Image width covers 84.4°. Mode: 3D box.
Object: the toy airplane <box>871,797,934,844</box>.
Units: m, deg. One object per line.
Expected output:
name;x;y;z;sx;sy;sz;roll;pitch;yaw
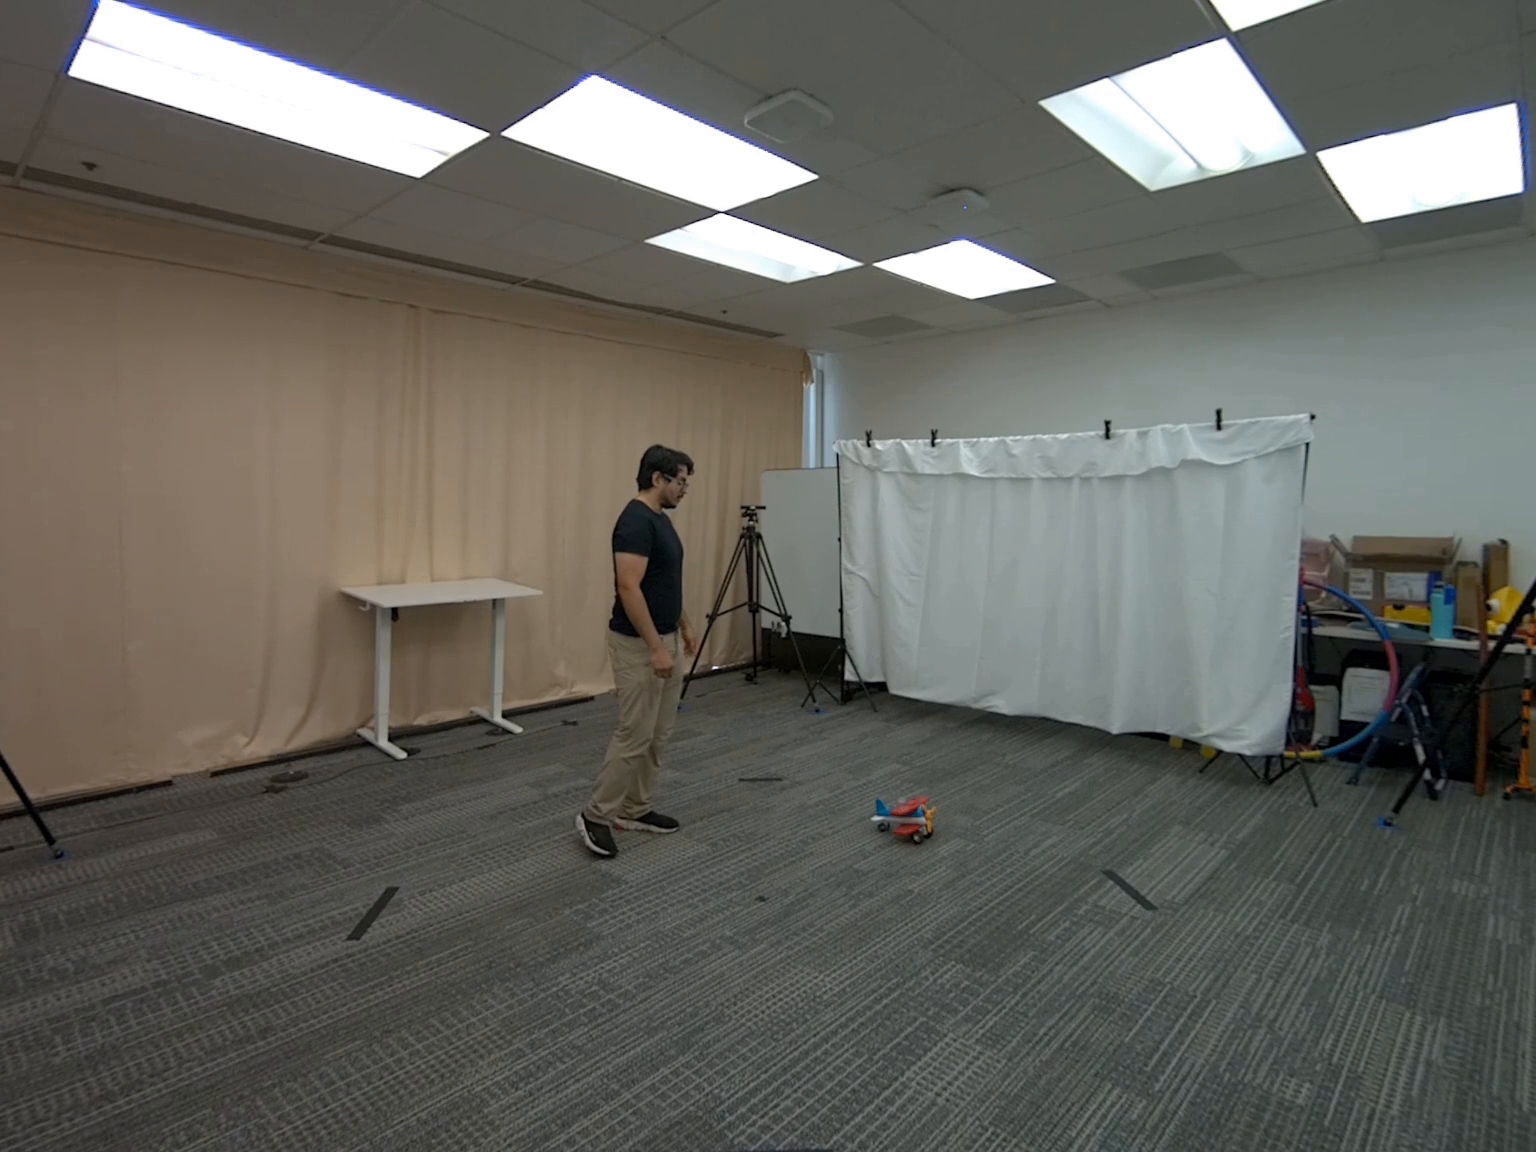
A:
toy airplane;0.561;1.020;3.537;0.262;0.156;0.249;2;4;8
